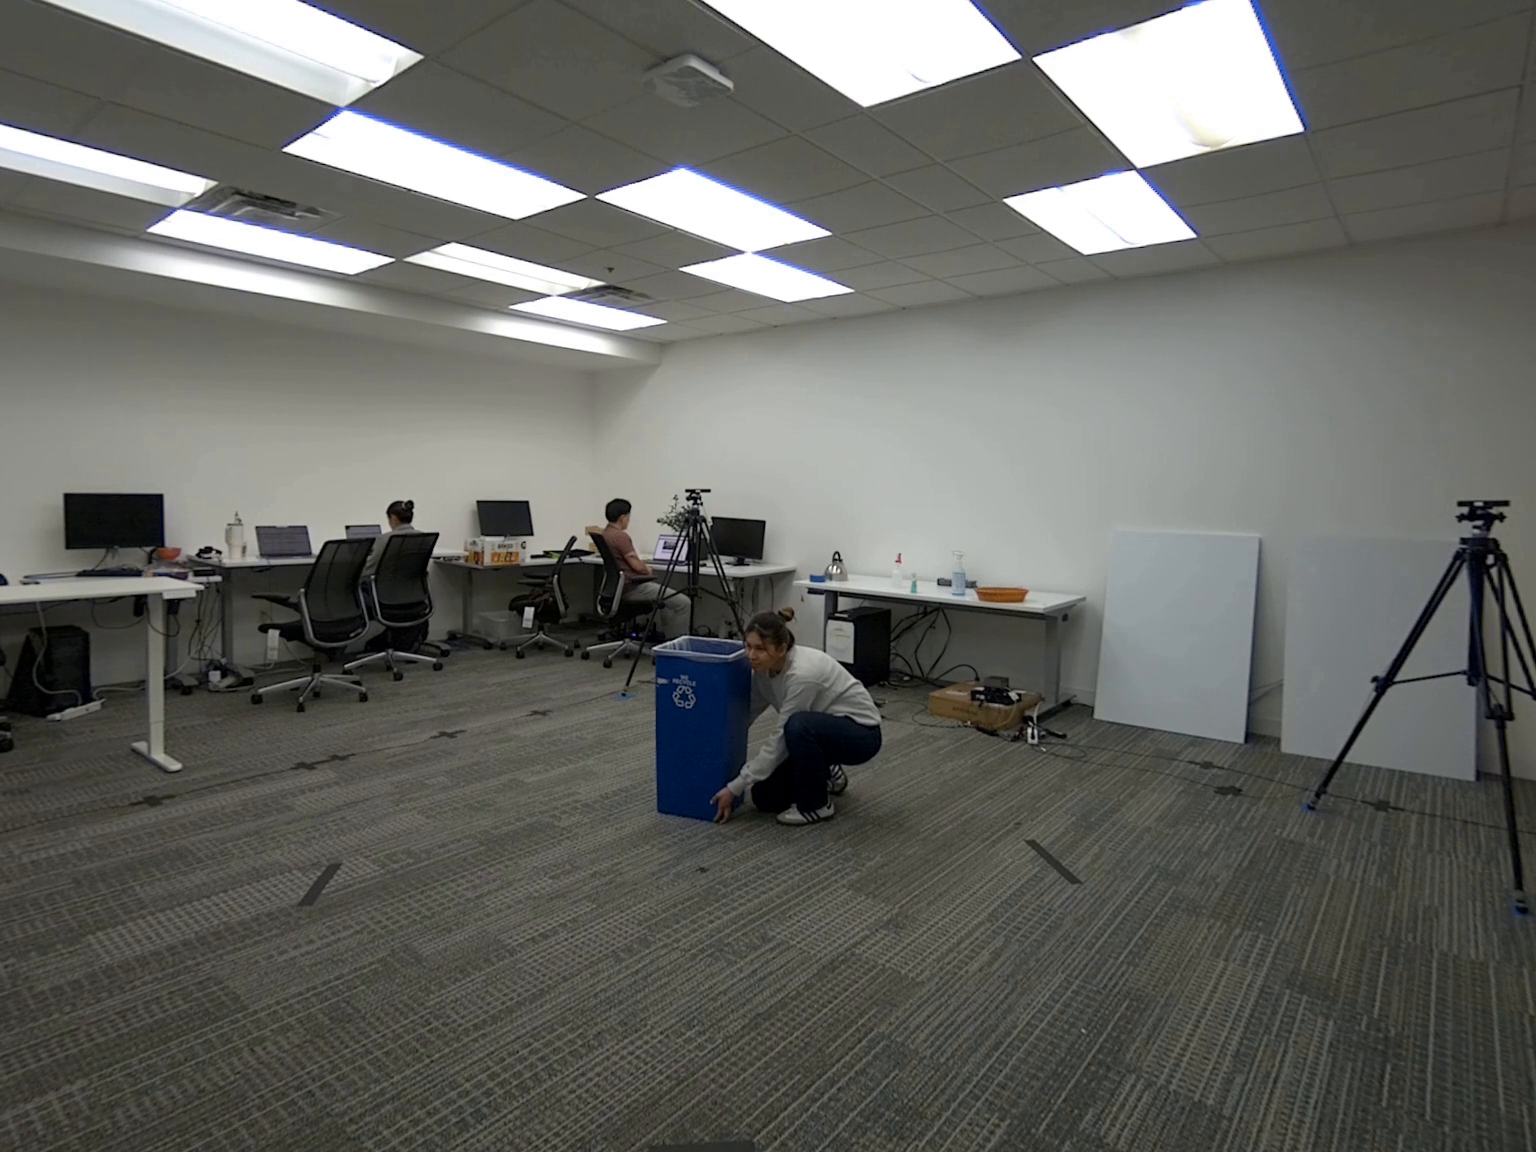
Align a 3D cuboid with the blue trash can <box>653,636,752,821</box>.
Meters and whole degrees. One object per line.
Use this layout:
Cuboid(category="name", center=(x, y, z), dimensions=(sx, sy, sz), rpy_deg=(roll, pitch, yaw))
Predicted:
Cuboid(category="blue trash can", center=(-0.289, 0.655, 3.735), dimensions=(0.382, 0.711, 0.371), rpy_deg=(2, 4, 19))
